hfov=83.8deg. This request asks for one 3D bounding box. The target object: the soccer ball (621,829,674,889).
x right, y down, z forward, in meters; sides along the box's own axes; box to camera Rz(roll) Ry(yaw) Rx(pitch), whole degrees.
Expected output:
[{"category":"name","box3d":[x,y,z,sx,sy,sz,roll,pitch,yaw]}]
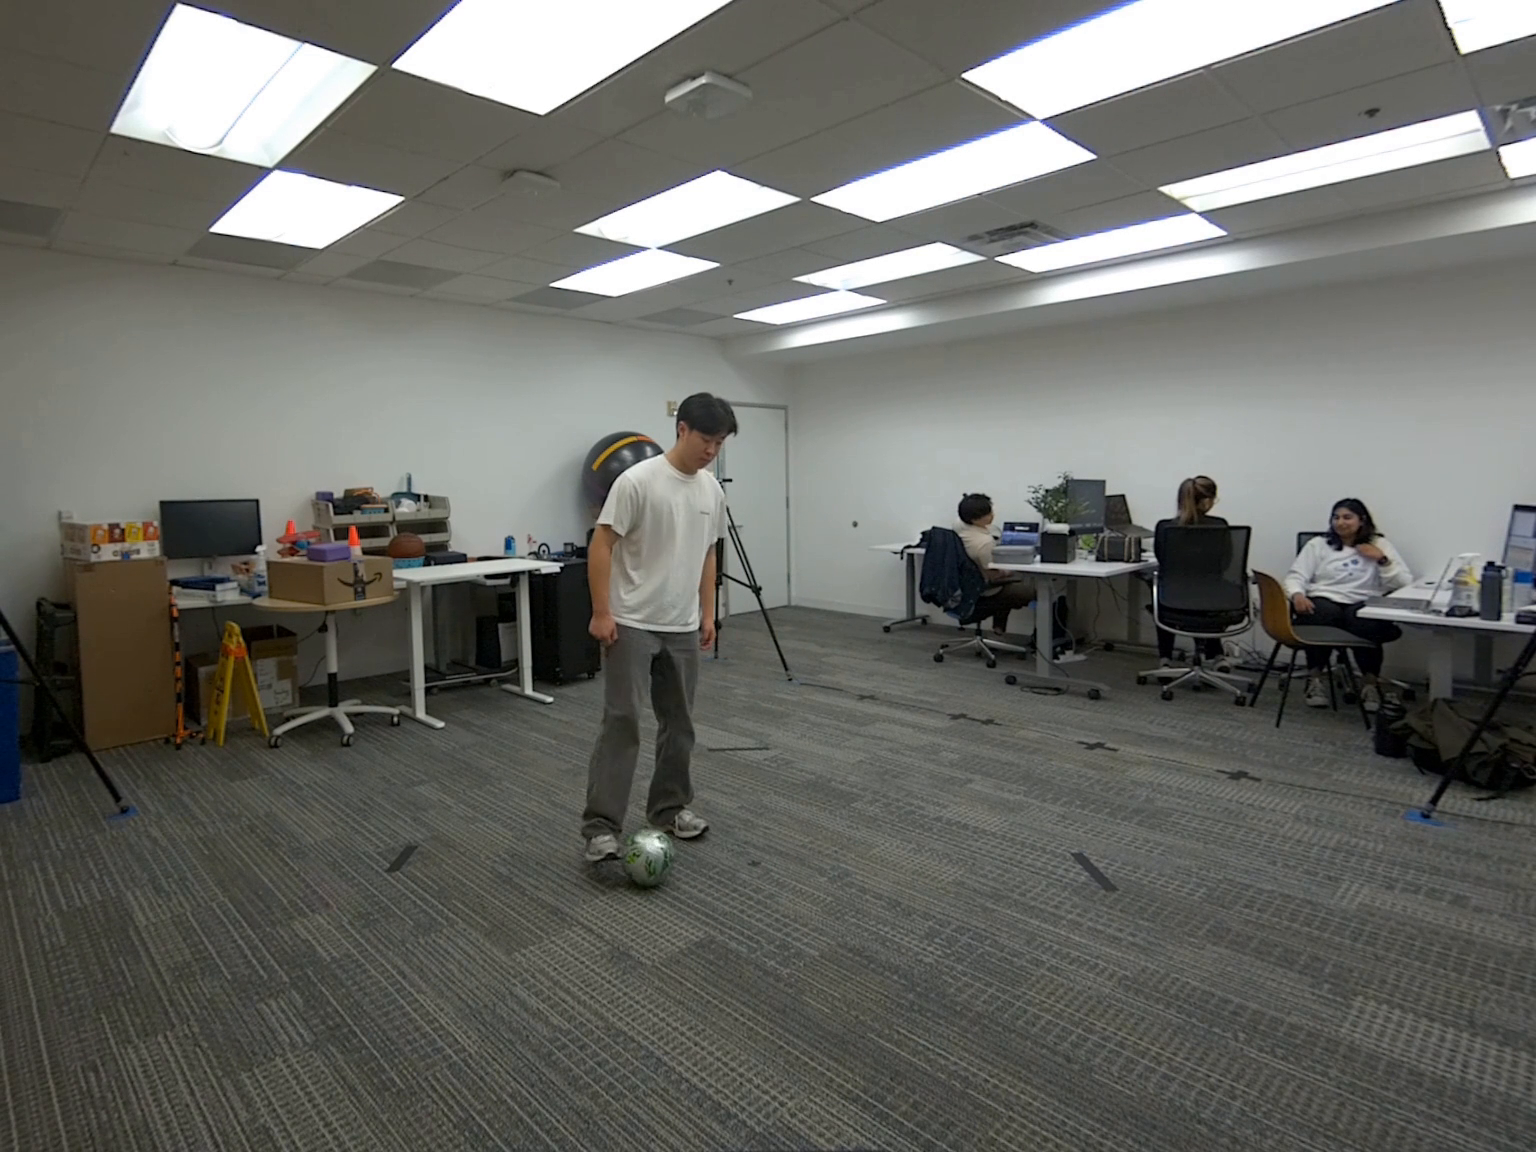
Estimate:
[{"category":"soccer ball","box3d":[-0.403,0.973,2.963,0.187,0.187,0.188,-1,5,-2]}]
